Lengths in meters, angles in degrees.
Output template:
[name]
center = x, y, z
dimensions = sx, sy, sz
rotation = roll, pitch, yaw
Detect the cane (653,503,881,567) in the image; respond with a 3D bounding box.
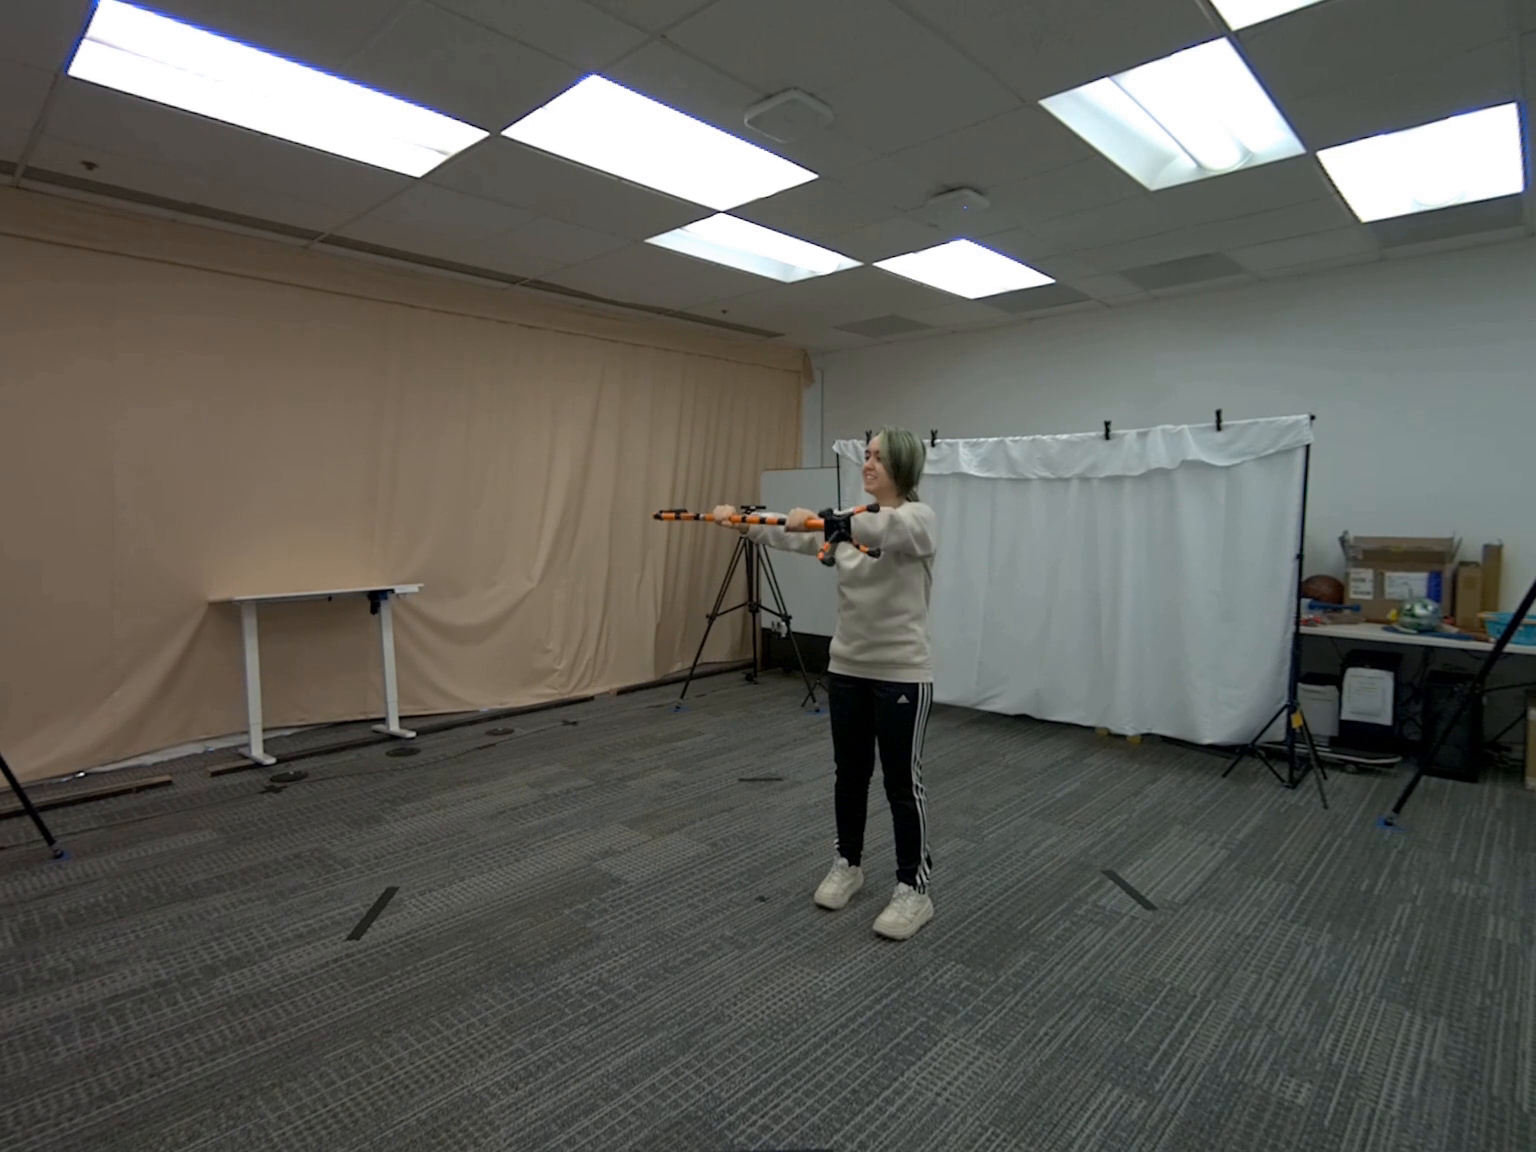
[cane]
center = -0.067, -0.159, 2.563
dimensions = 0.201, 0.151, 0.939
rotation = -10, 11, -39
